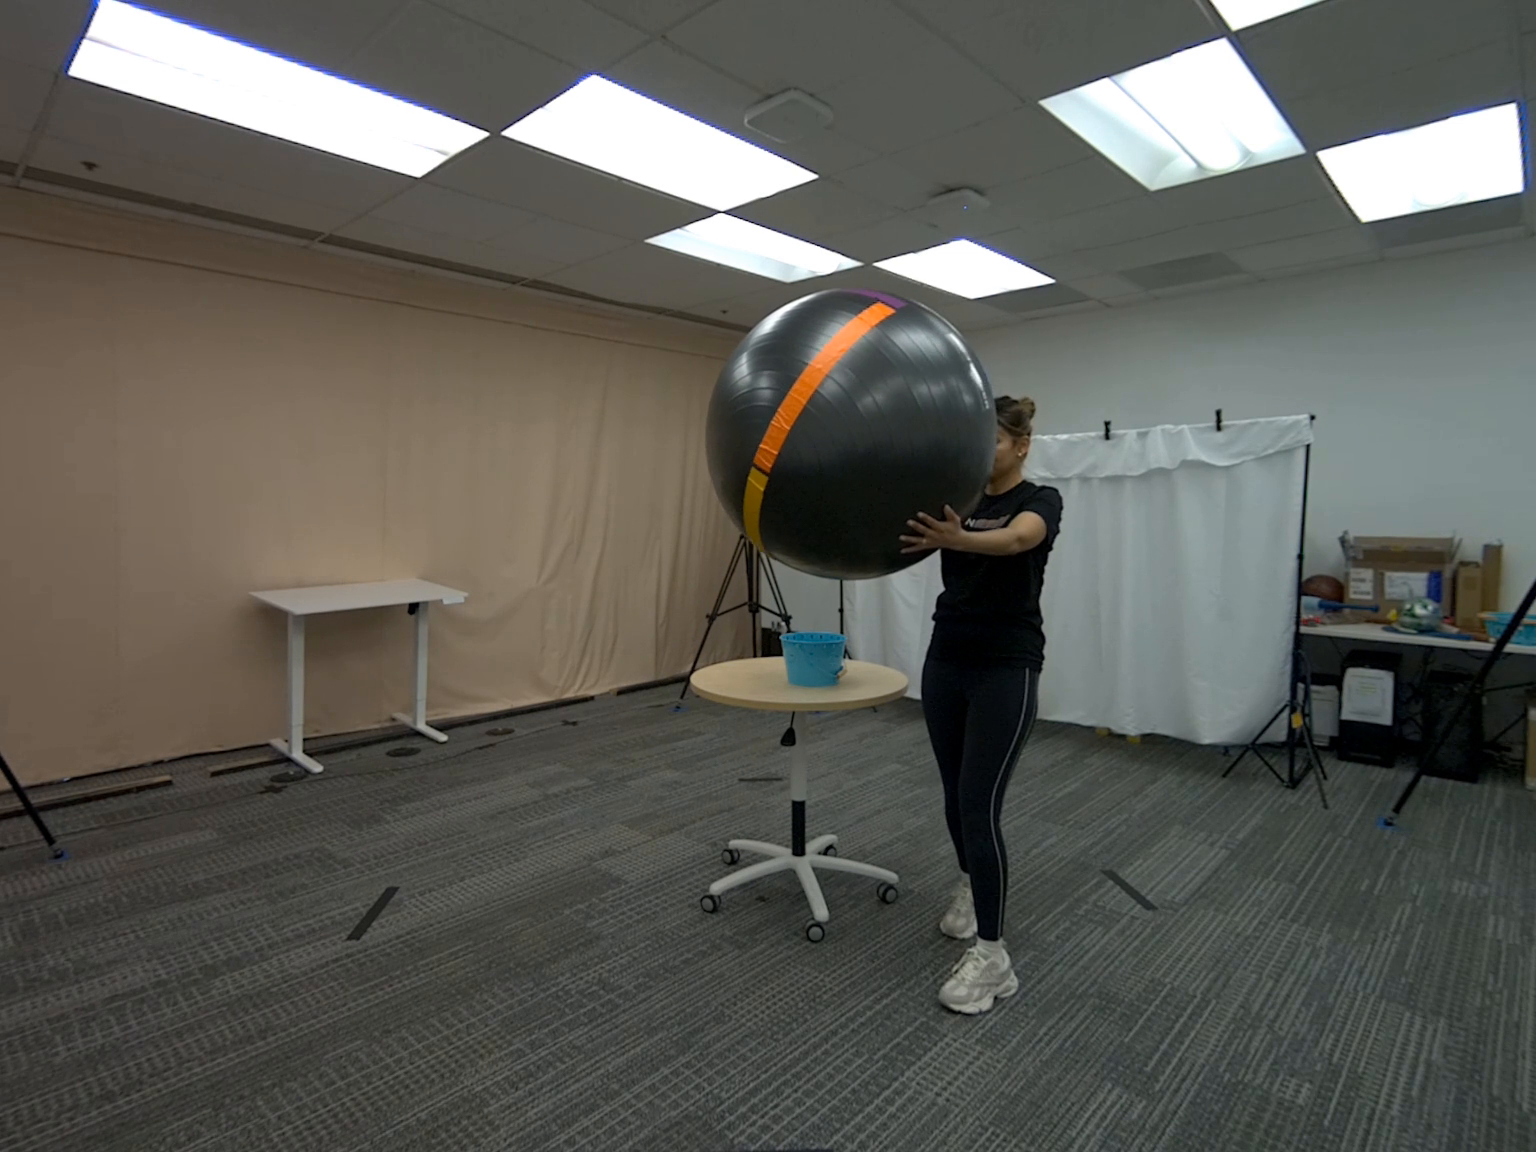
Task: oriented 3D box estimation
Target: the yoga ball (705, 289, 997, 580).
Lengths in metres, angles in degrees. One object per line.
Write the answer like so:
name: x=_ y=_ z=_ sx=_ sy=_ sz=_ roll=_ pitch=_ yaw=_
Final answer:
yoga ball: x=0.221 y=-0.362 z=2.233 sx=0.757 sy=0.756 sz=0.761 roll=0 pitch=4 yaw=-2
